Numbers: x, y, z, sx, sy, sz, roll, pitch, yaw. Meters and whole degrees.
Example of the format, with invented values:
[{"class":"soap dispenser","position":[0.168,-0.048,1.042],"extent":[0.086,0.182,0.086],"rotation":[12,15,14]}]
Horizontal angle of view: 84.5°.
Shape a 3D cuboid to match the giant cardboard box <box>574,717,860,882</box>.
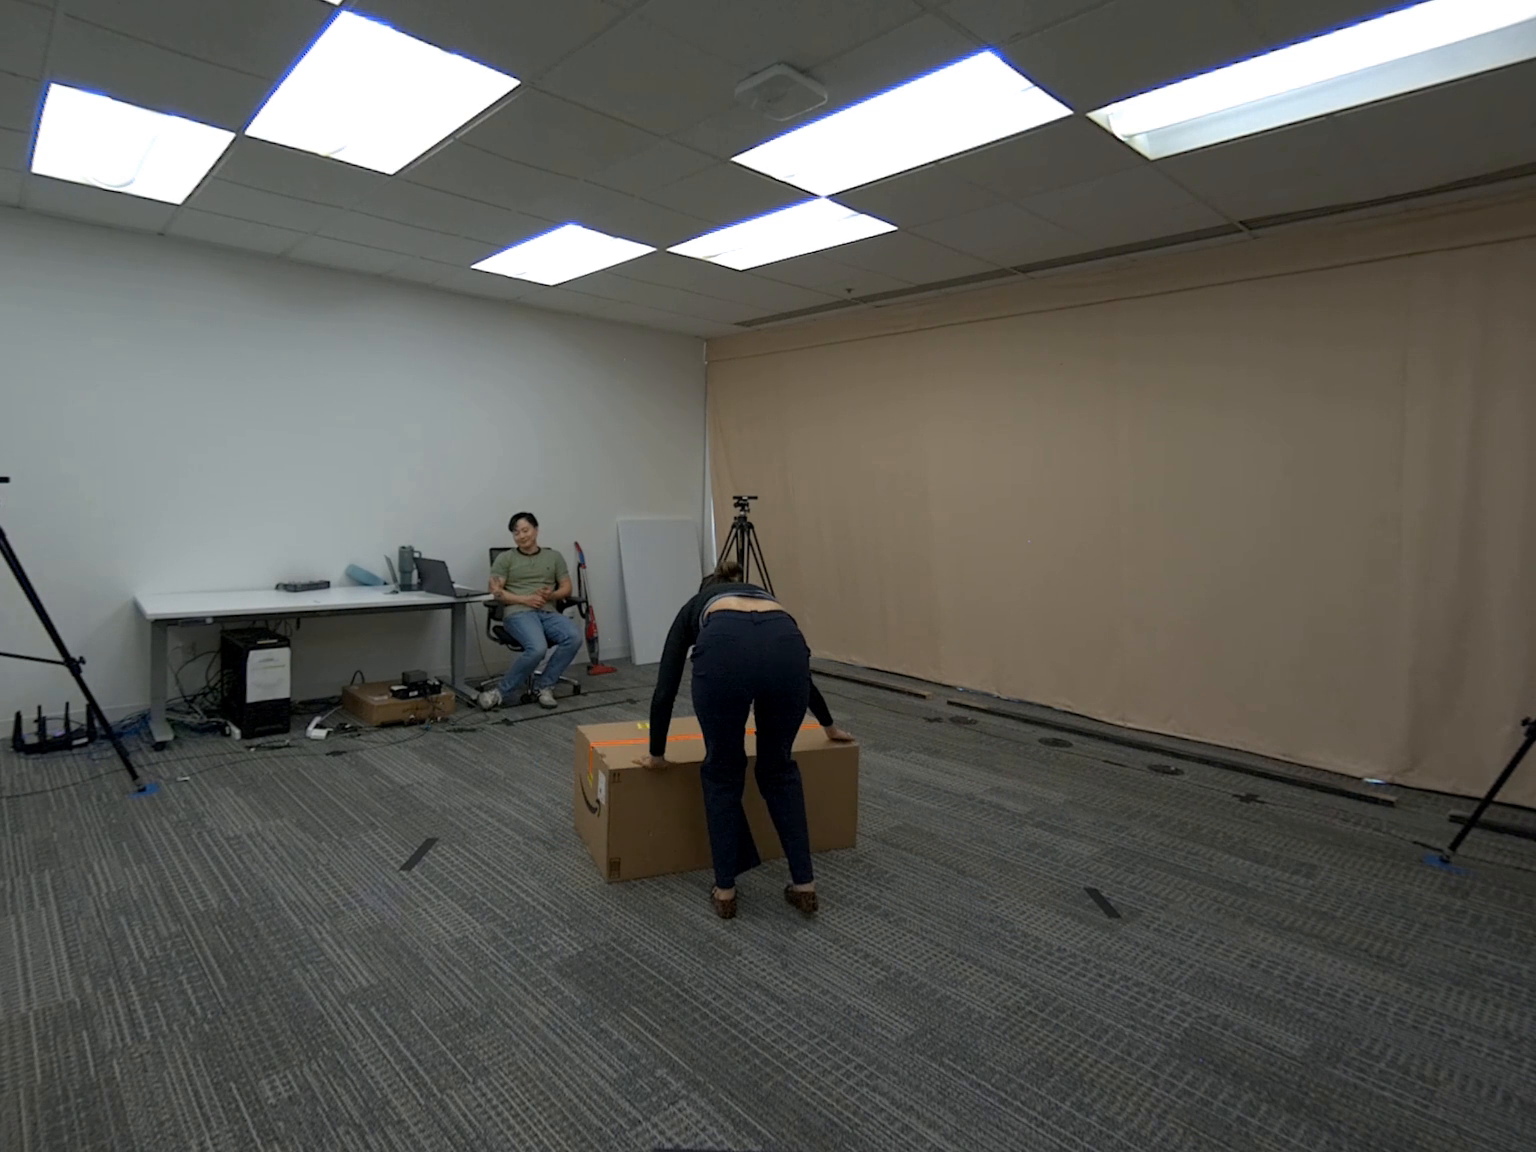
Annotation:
[{"class":"giant cardboard box","position":[-0.234,0.852,3.452],"extent":[1.009,0.425,0.589],"rotation":[0,6,-23]}]
